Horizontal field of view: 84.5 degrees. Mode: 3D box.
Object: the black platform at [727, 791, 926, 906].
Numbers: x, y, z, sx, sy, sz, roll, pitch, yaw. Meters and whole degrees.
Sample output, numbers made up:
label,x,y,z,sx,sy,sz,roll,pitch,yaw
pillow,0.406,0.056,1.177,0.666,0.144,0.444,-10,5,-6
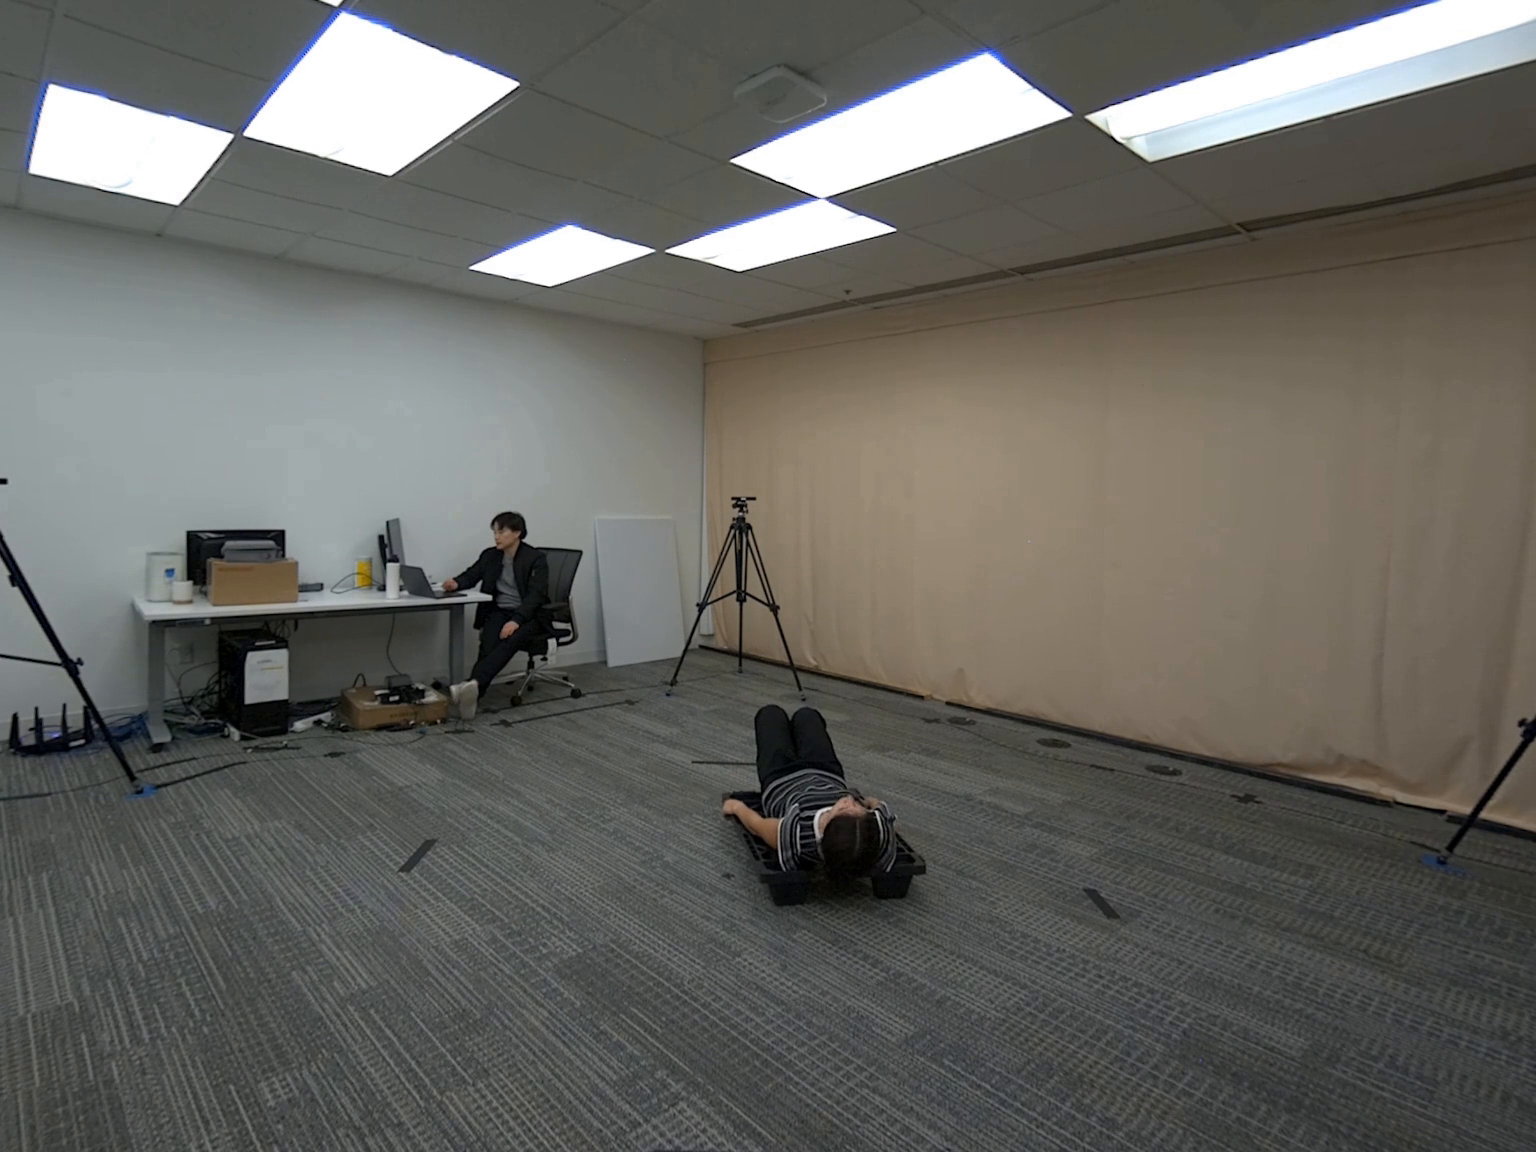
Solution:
label,x,y,z,sx,sy,sz,roll,pitch,yaw
black platform,0.169,1.031,3.277,0.600,0.143,0.814,-1,5,-10
